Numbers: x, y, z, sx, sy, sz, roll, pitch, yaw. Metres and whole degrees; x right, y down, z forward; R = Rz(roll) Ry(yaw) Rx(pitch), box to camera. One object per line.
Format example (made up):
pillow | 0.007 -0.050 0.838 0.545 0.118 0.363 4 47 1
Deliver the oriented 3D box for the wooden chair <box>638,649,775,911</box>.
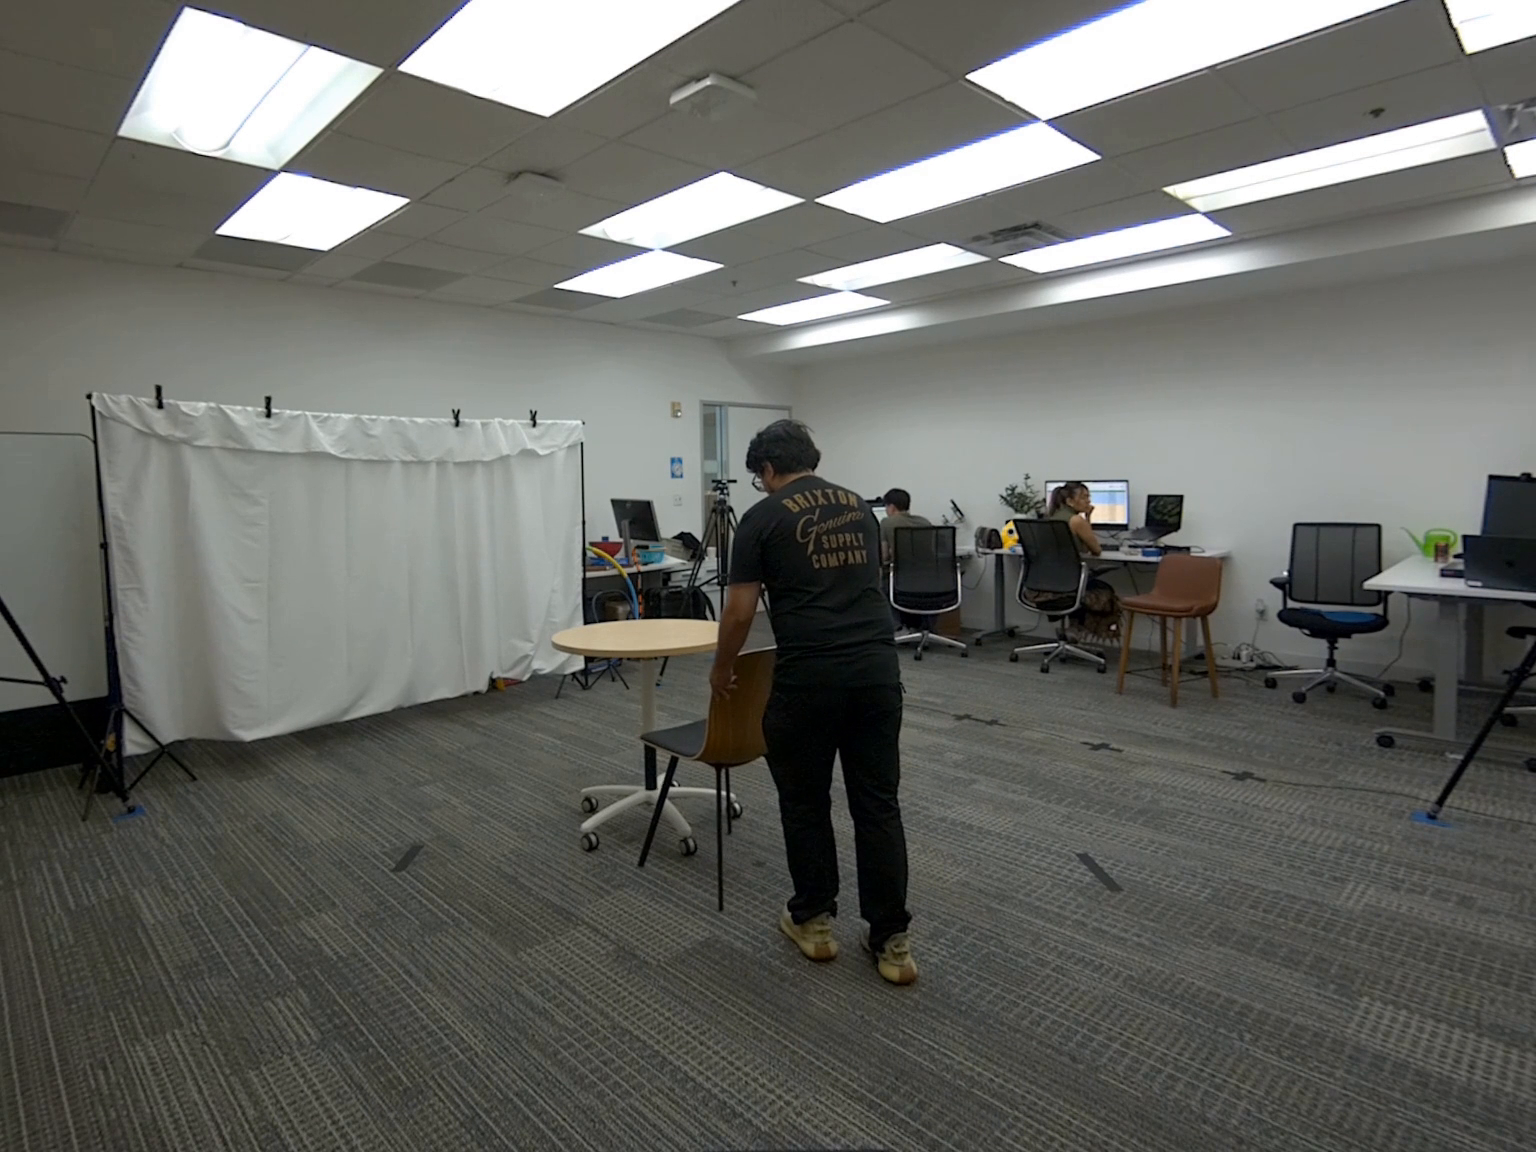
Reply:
wooden chair | -0.159 0.625 3.055 0.465 0.871 0.541 -5 10 -42
